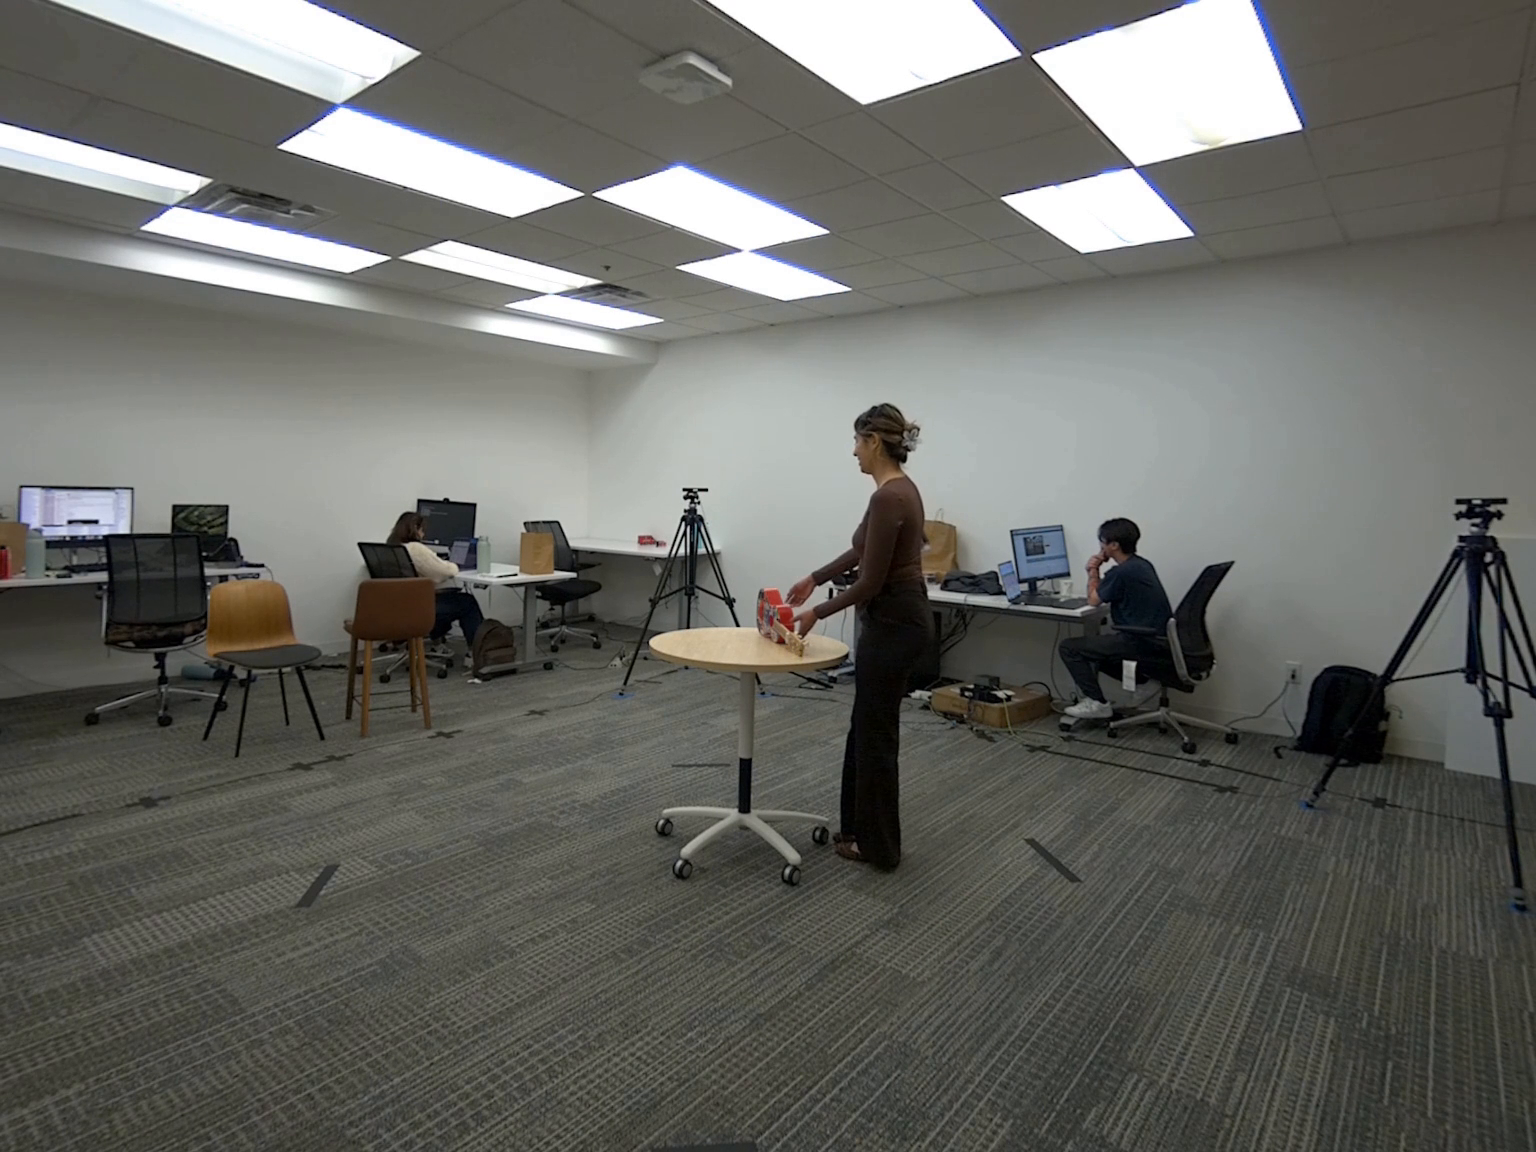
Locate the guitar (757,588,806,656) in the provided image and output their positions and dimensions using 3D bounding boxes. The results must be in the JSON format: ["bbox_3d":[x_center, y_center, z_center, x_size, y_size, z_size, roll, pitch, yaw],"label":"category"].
[{"bbox_3d":[0.048,0.219,3.295,0.069,0.190,0.515,0,23,-19],"label":"guitar"}]
